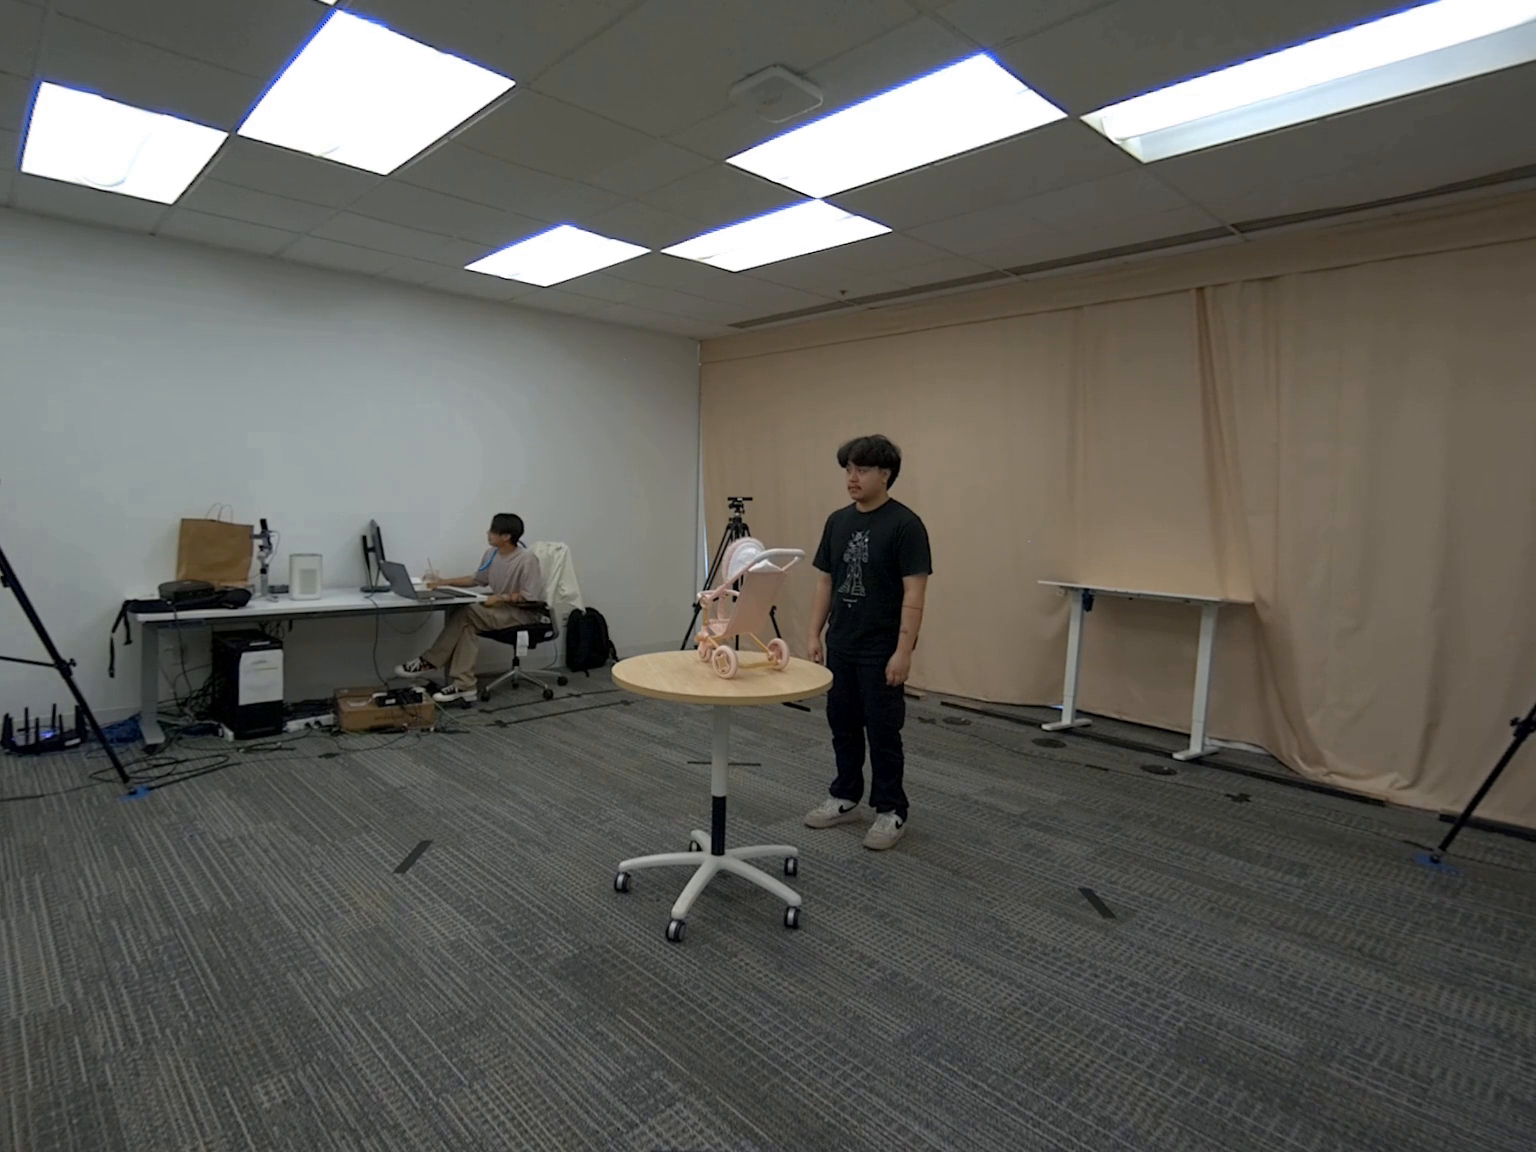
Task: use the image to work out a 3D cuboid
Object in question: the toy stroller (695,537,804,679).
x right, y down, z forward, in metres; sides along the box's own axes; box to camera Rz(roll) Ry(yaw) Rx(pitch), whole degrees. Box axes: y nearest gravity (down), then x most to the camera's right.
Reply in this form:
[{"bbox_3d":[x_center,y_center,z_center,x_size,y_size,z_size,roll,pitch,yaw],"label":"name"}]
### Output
[{"bbox_3d":[-0.096,0.109,2.916,0.275,0.530,0.352,-1,20,-39],"label":"toy stroller"}]
